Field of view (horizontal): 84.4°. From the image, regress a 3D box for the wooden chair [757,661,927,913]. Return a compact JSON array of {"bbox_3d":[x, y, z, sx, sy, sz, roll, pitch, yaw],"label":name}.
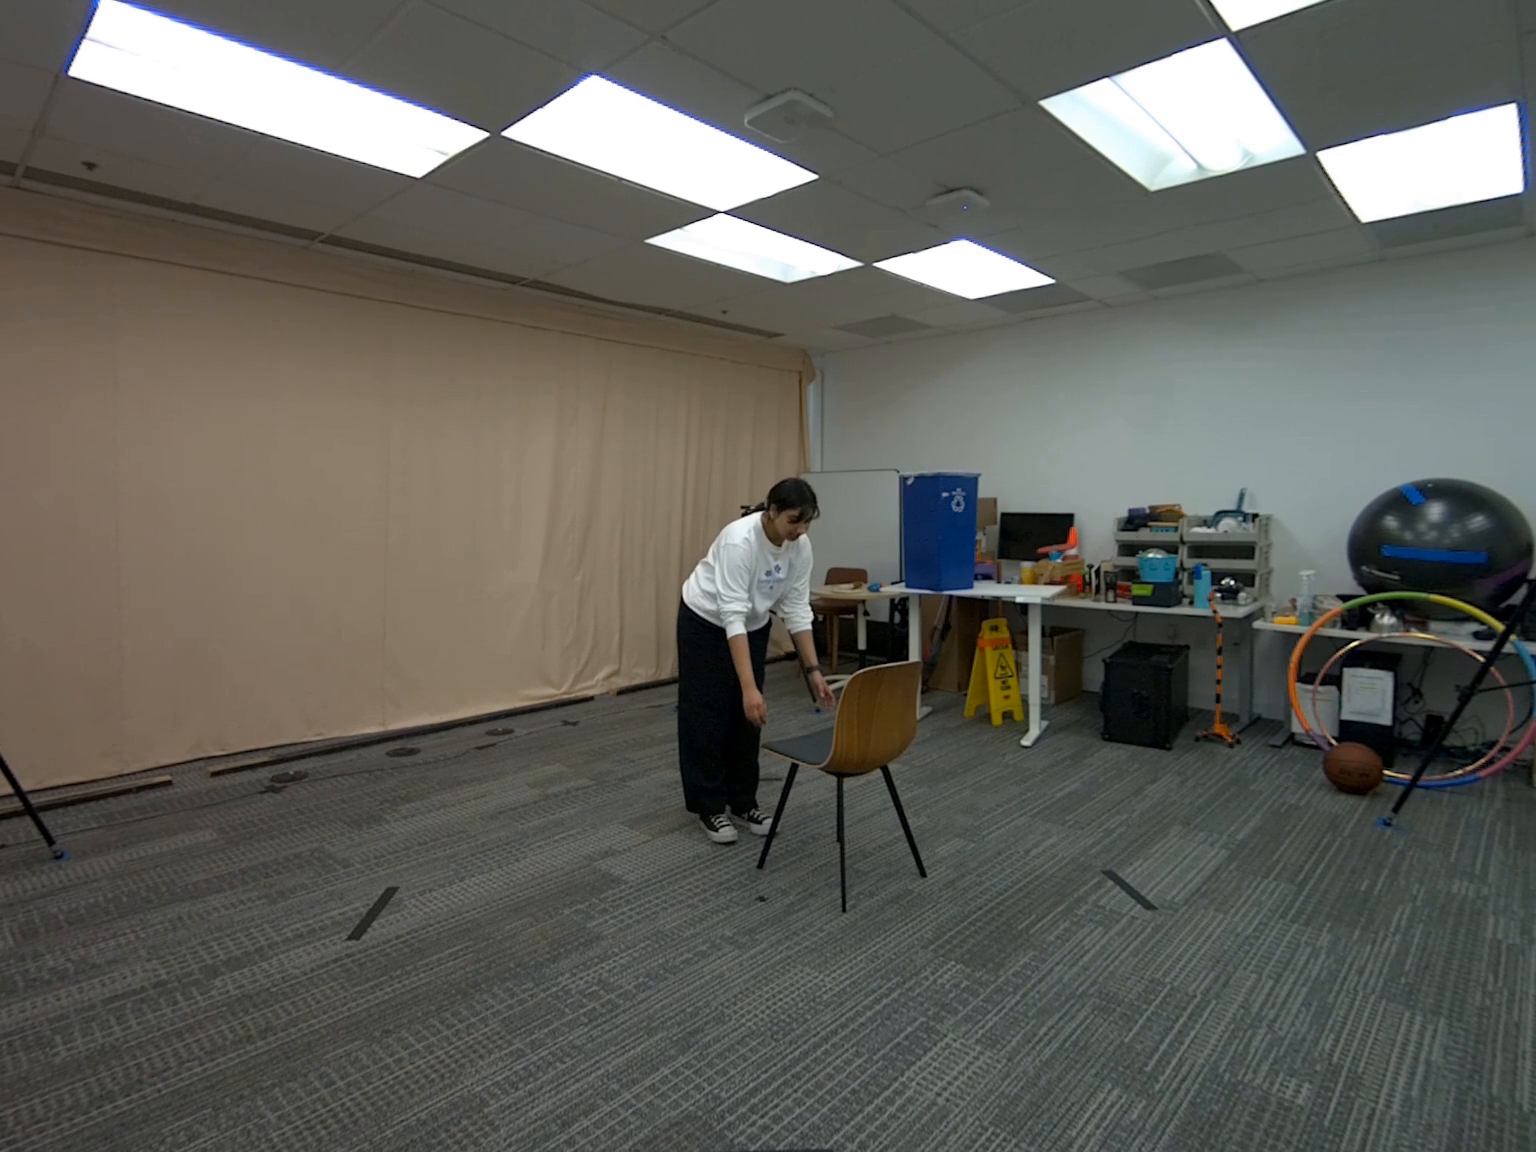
[{"bbox_3d":[0.278,0.698,3.164,0.463,0.874,0.541,-3,9,-41],"label":"wooden chair"}]
